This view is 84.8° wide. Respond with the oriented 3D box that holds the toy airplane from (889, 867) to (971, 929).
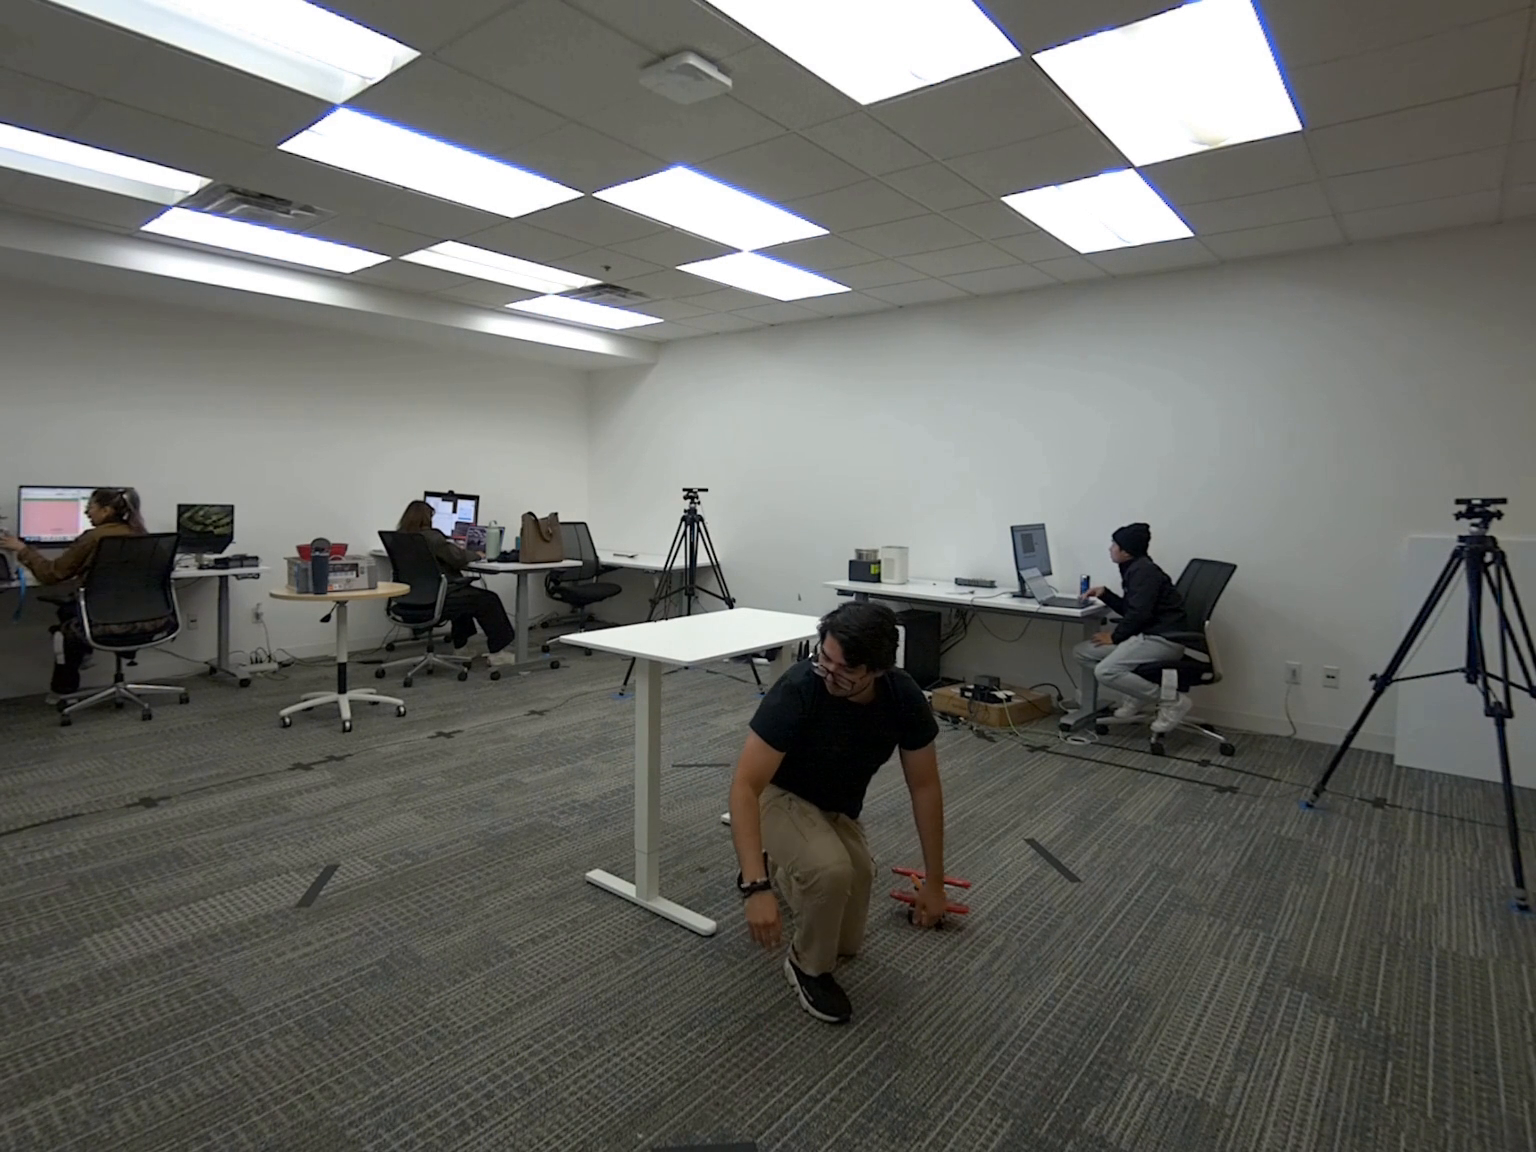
[{"bbox_3d":[0.524,1.042,2.825,0.249,0.156,0.262,2,6,-6],"label":"toy airplane"}]
